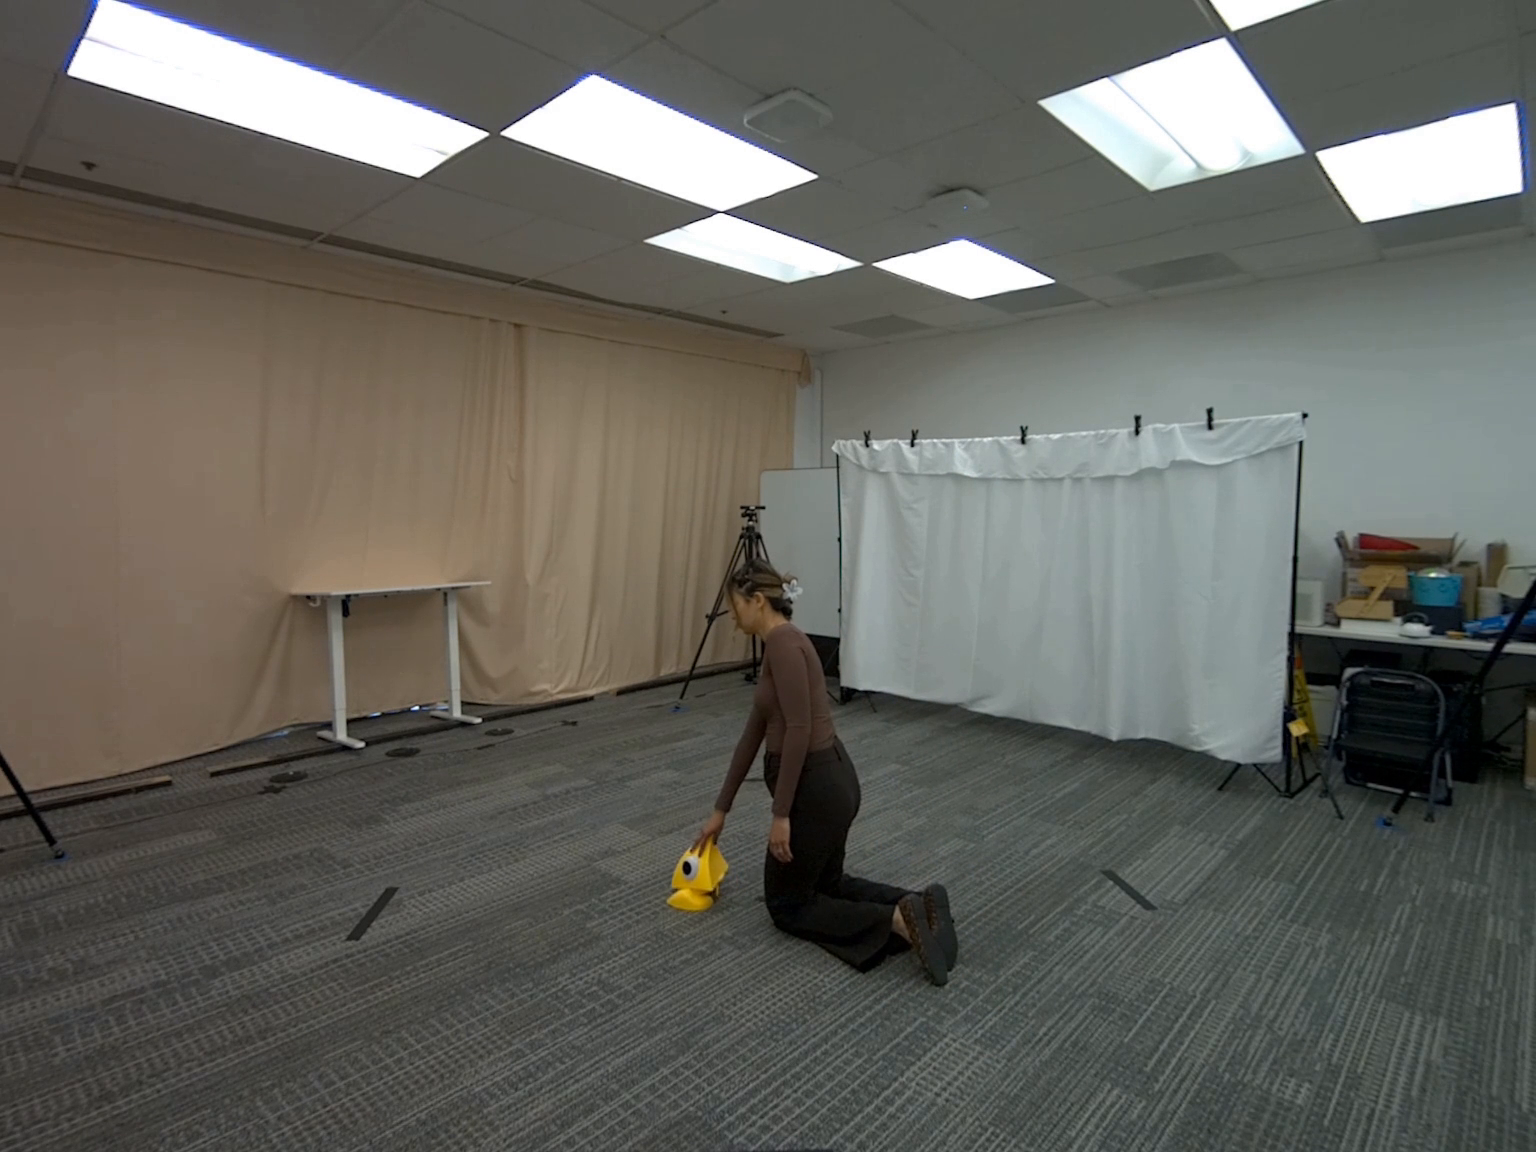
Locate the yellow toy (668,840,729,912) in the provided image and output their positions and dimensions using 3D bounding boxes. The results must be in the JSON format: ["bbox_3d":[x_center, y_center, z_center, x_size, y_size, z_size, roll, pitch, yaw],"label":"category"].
[{"bbox_3d":[-0.251,1.030,2.993,0.196,0.230,0.201,1,4,16],"label":"yellow toy"}]
